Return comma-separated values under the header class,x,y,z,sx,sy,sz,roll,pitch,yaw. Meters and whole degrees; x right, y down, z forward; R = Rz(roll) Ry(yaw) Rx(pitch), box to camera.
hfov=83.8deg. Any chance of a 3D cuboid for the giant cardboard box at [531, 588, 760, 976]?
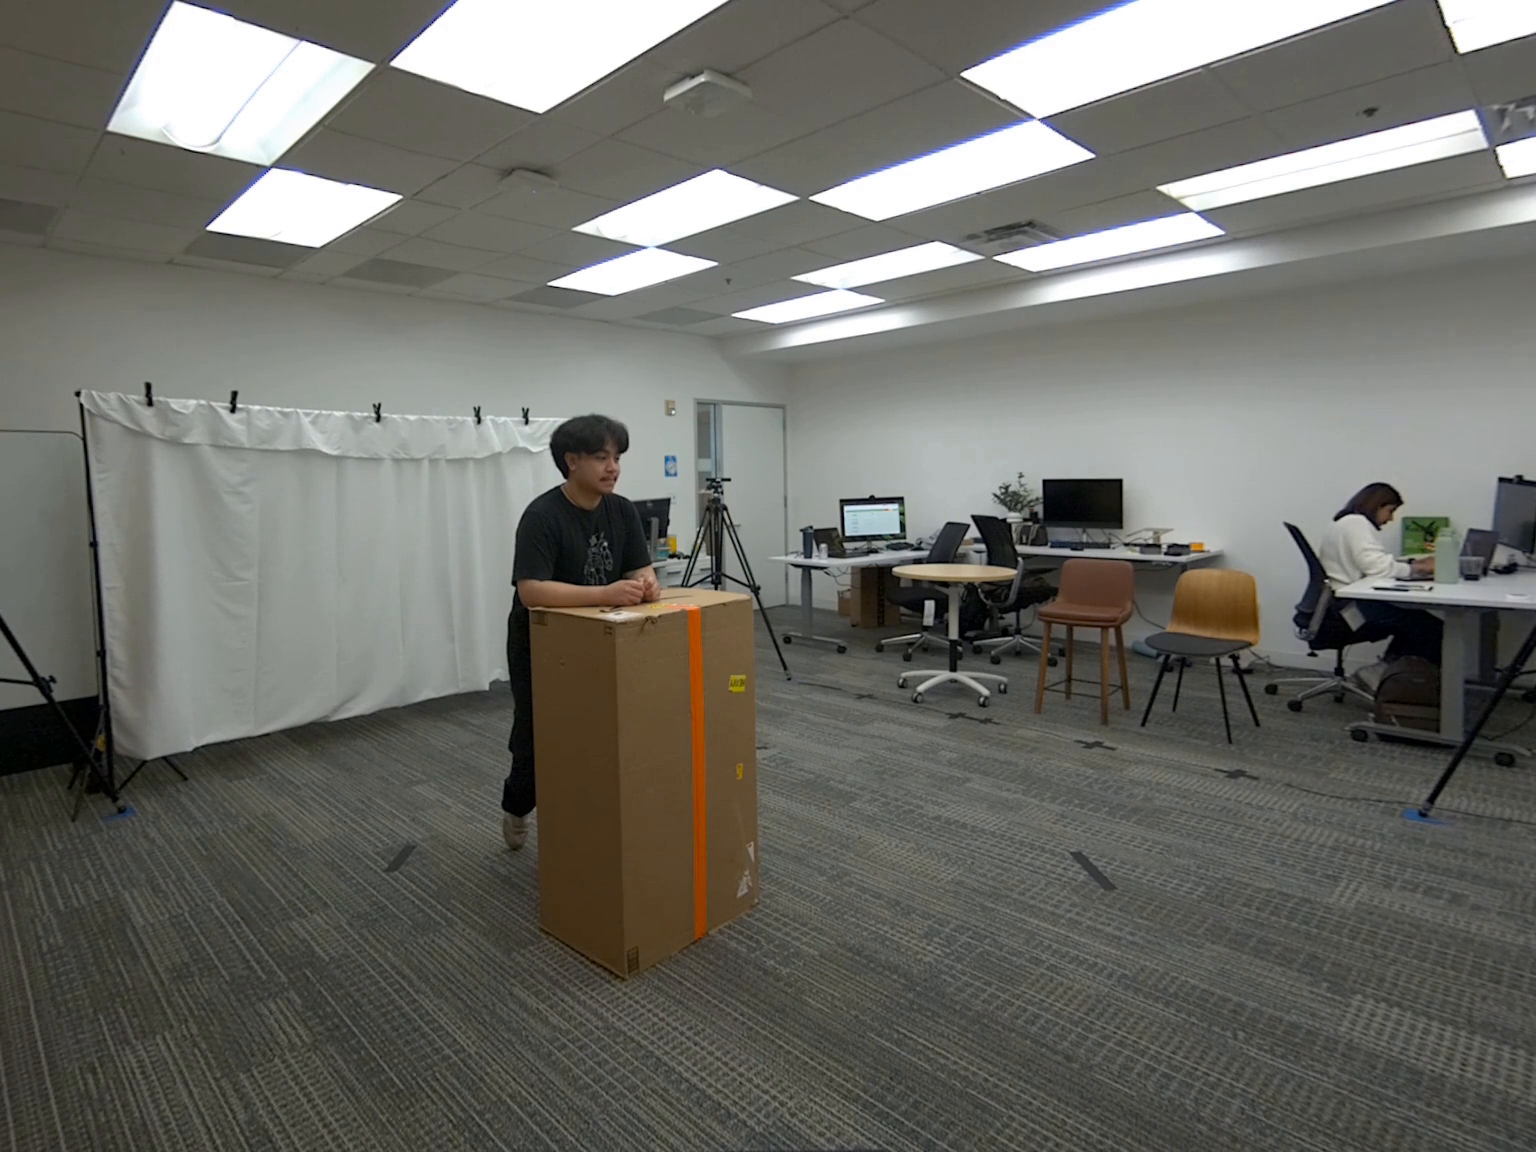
class,x,y,z,sx,sy,sz,roll,pitch,yaw
giant cardboard box,-0.376,0.586,2.706,0.461,1.022,0.569,4,7,43
